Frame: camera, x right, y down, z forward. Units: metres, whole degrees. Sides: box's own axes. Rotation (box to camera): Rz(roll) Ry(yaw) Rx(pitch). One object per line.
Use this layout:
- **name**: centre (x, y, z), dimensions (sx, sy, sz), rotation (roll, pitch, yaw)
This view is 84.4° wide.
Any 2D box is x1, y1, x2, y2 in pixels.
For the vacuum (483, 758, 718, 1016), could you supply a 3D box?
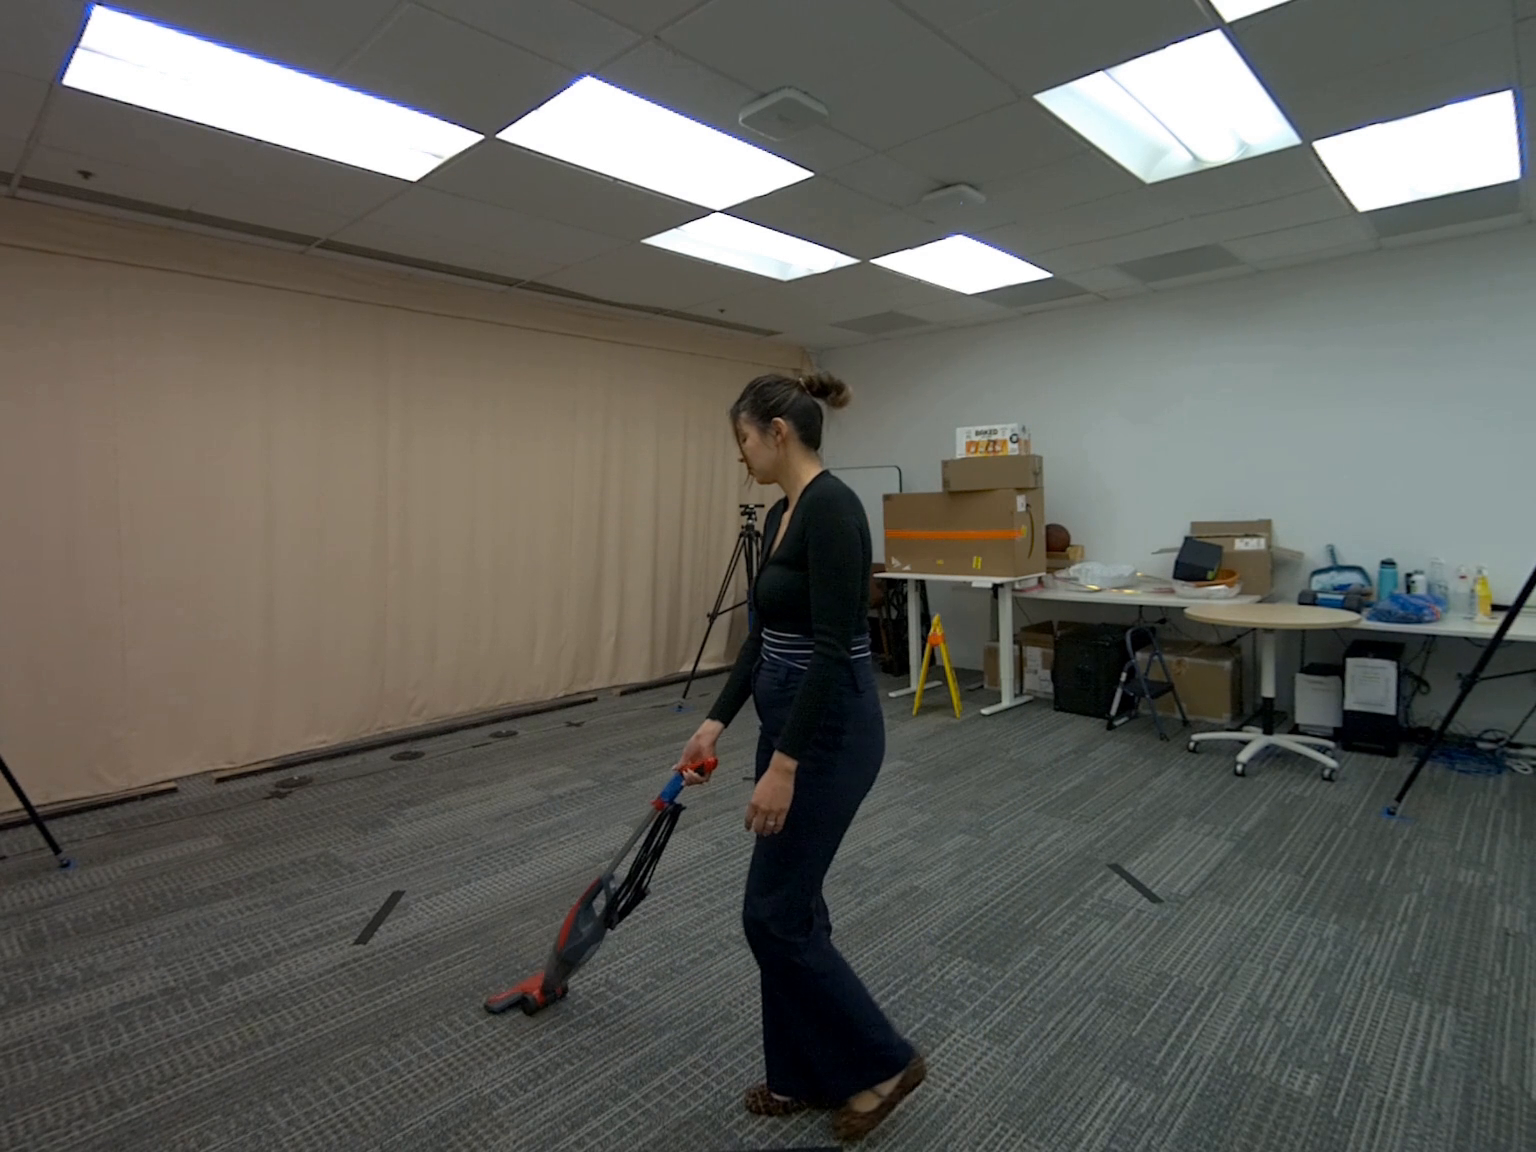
- **vacuum**: centre (-0.403, 0.816, 2.166), dimensions (0.147, 1.052, 0.246), rotation (45, 28, 18)
